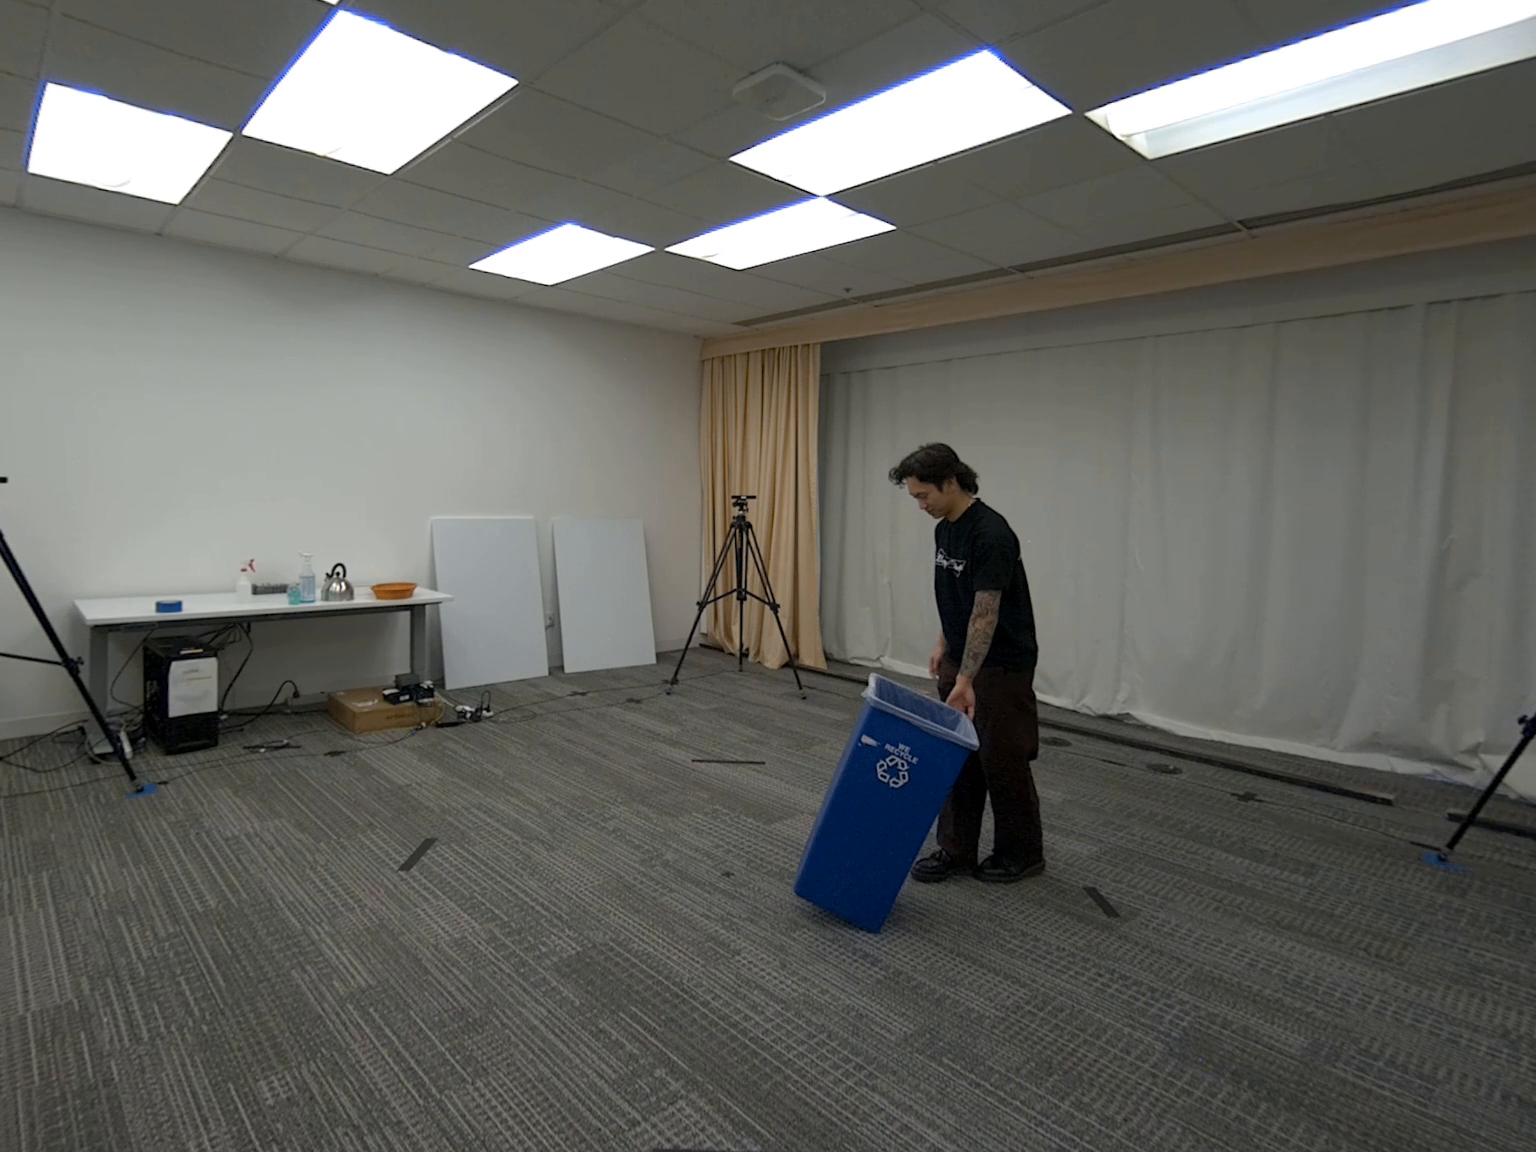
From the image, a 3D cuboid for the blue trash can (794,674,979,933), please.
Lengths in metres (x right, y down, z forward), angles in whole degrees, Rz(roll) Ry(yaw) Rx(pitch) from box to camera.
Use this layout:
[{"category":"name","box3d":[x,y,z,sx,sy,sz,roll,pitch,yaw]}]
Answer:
[{"category":"blue trash can","box3d":[0.373,0.758,2.813,0.377,0.711,0.376,21,7,6]}]
